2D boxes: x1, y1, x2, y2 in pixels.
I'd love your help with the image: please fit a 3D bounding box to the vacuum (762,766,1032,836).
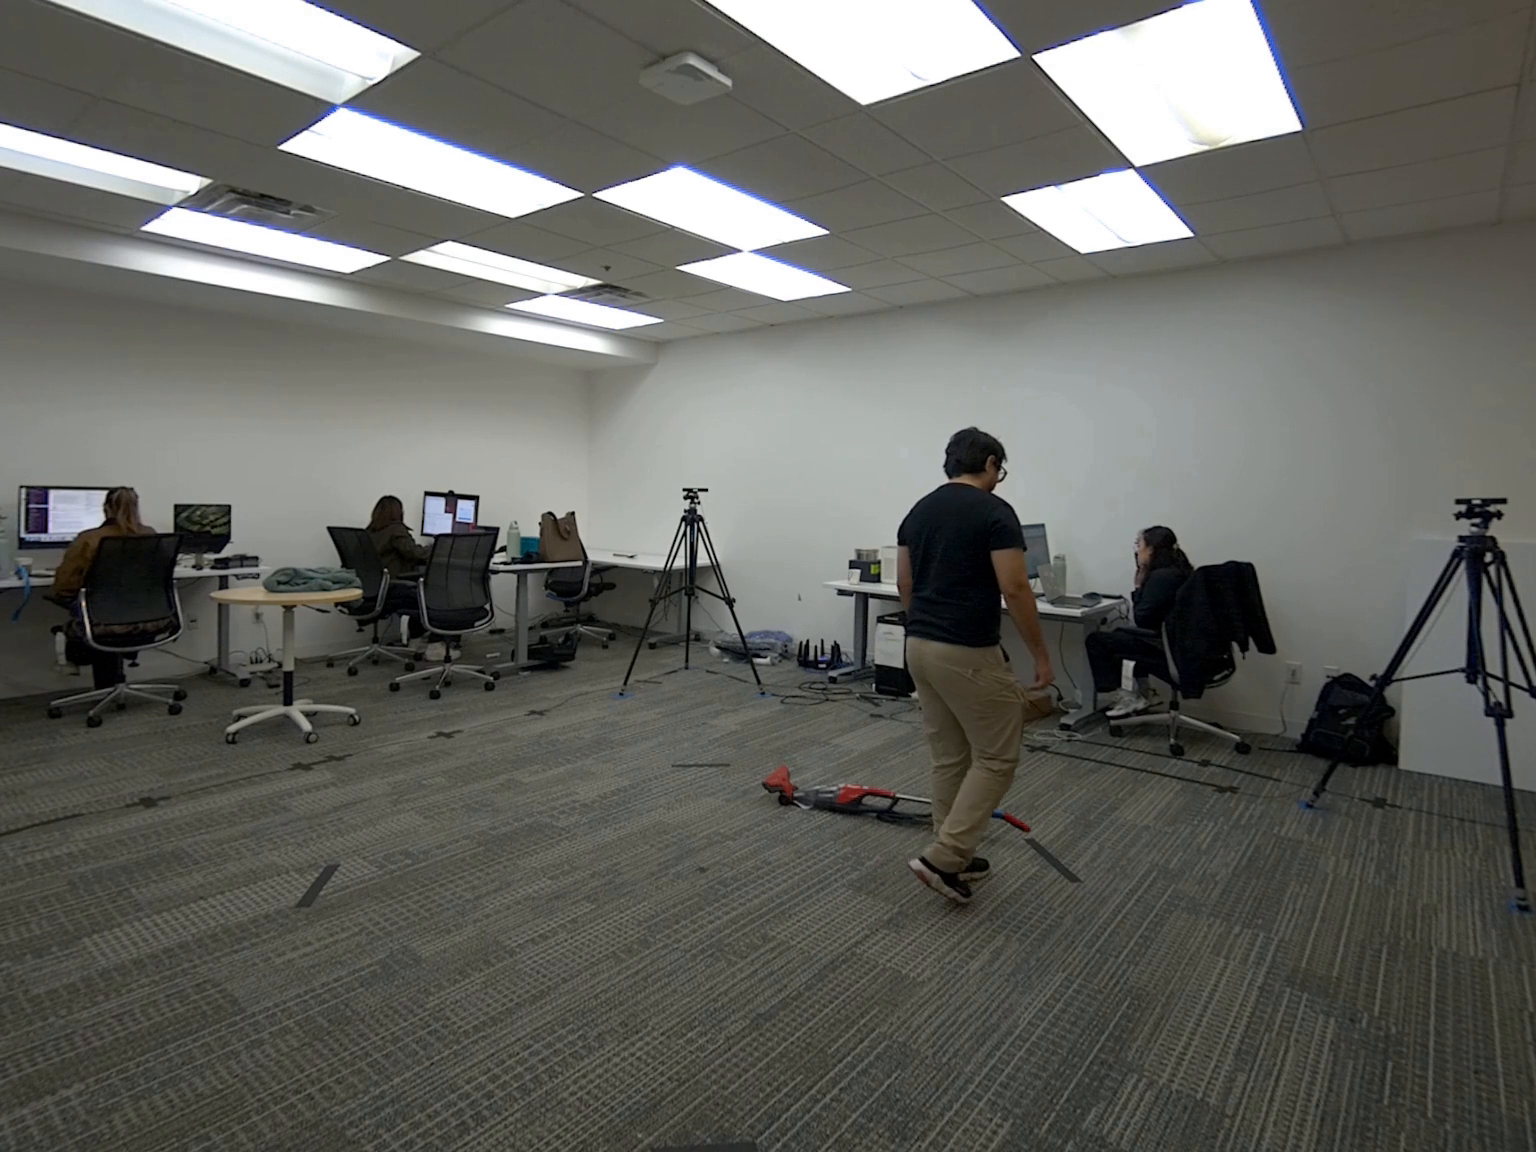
[{"bbox_3d":[0.529,0.978,3.614,1.076,0.143,0.247,4,6,24],"label":"vacuum"}]
